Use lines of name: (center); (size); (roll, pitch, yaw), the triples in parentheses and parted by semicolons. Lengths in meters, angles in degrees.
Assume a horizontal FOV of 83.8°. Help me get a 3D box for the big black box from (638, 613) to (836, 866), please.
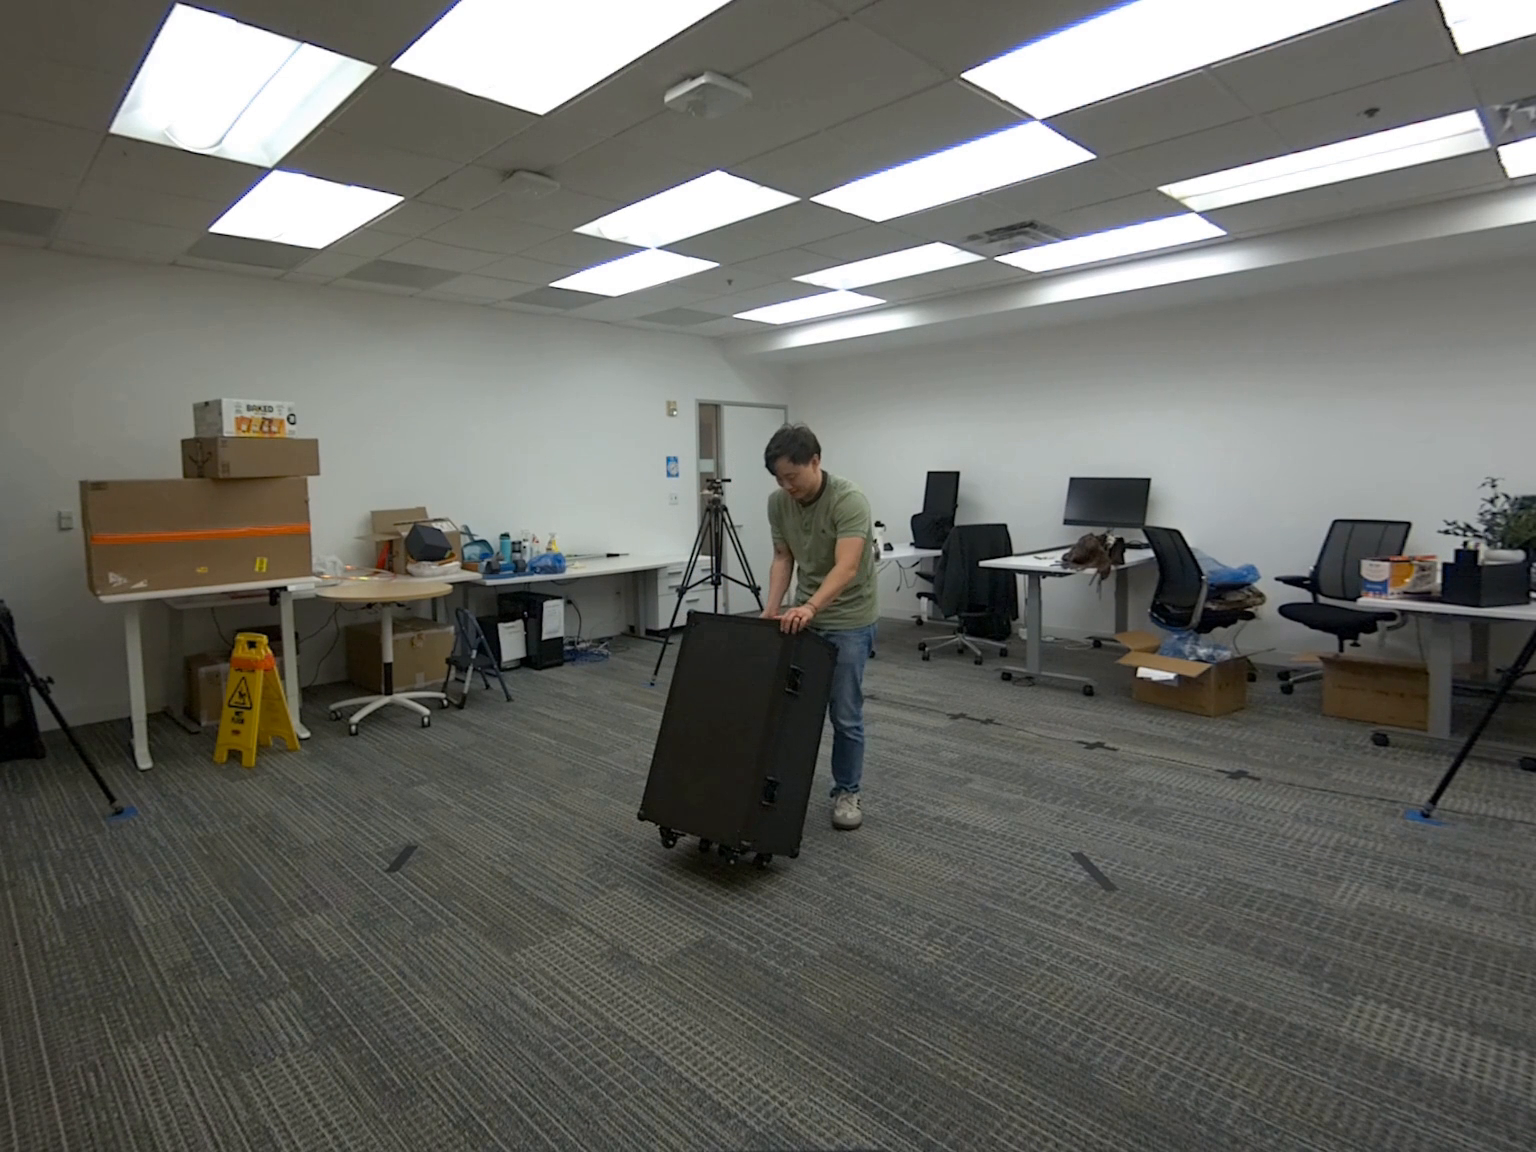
big black box: (-0.107, 0.605, 3.168); (0.536, 0.870, 0.381); (2, -19, 36)
